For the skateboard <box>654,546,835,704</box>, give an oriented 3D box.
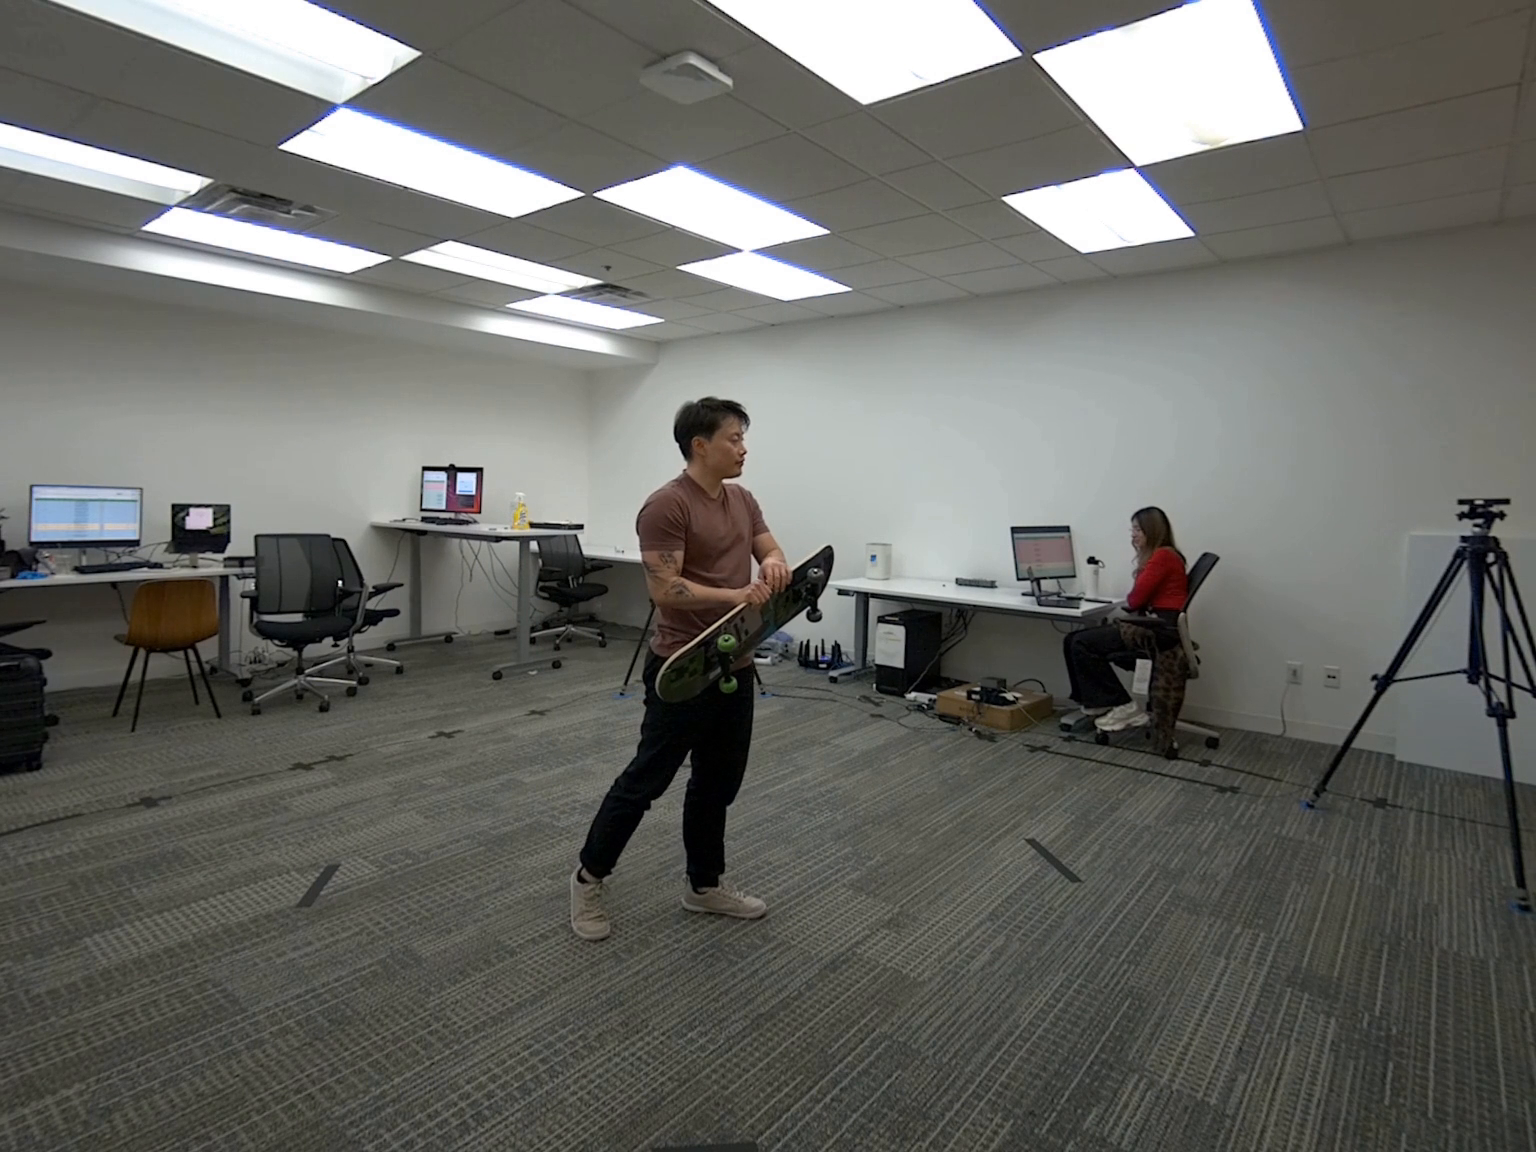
[{"bbox_3d":[-0.018,0.141,2.496,0.114,0.188,0.778,26,45,32],"label":"skateboard"}]
